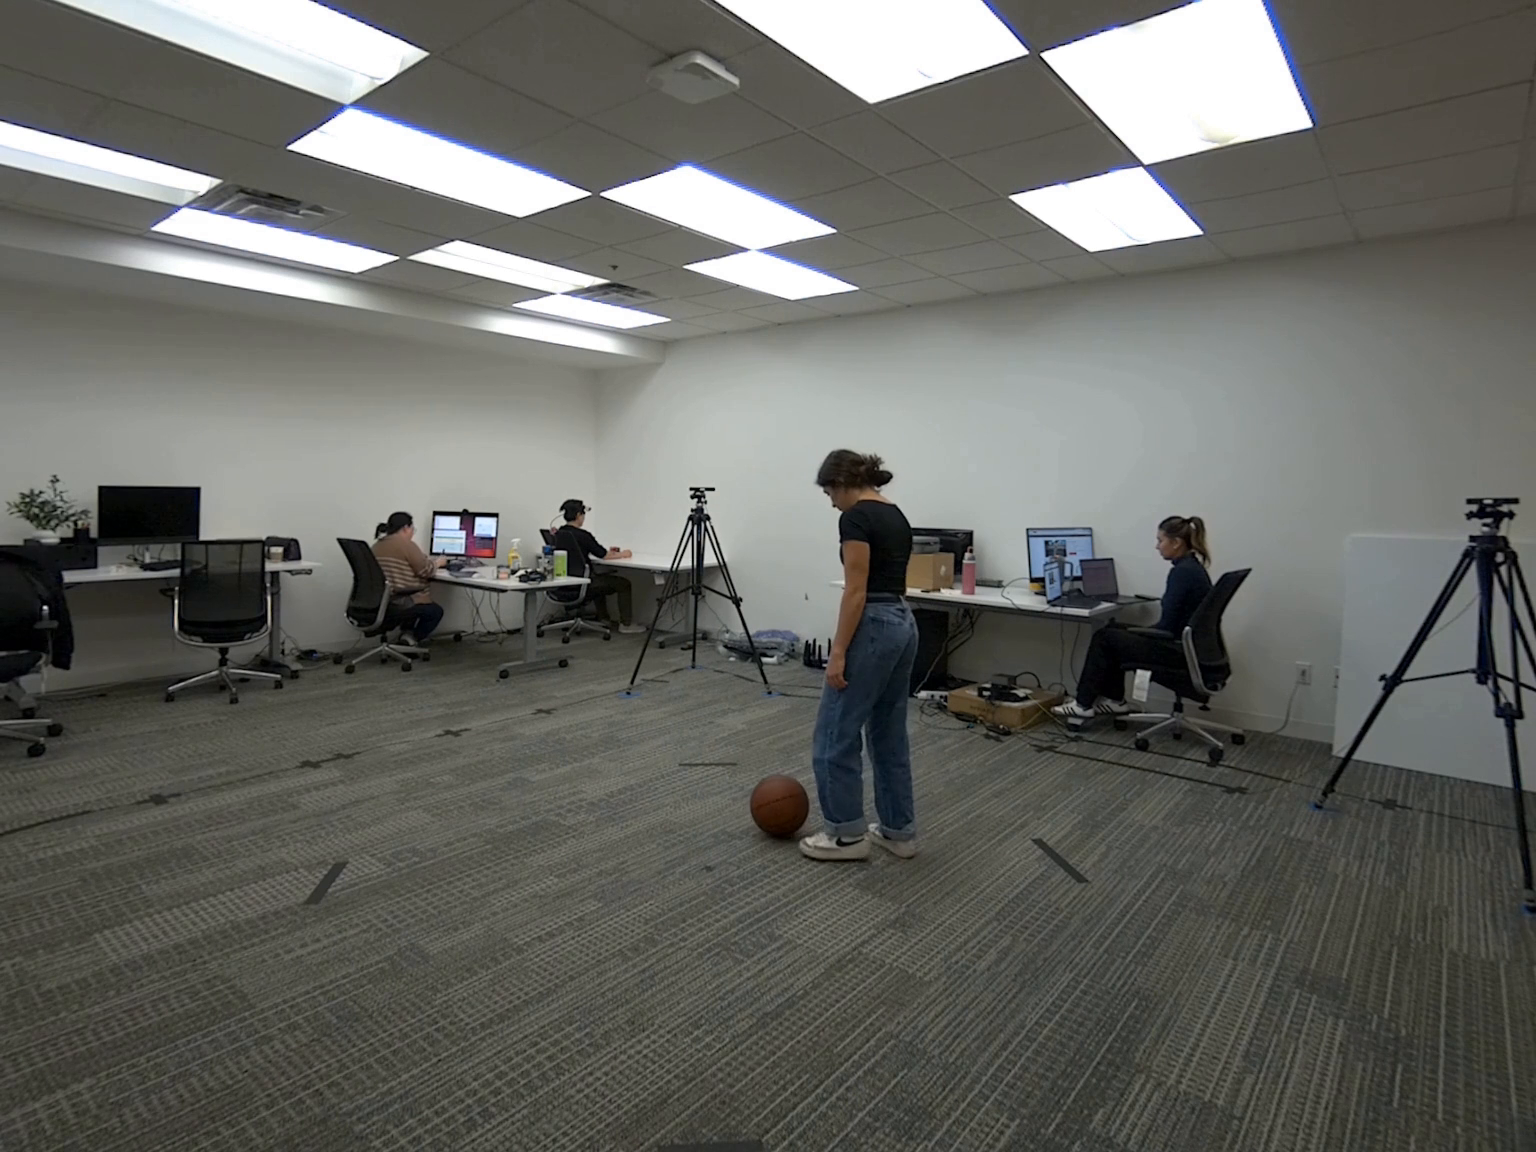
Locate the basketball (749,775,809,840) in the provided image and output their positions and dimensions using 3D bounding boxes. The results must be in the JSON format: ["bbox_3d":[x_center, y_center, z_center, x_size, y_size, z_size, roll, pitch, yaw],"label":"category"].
[{"bbox_3d":[0.033,0.918,3.427,0.235,0.235,0.237,1,4,-2],"label":"basketball"}]
